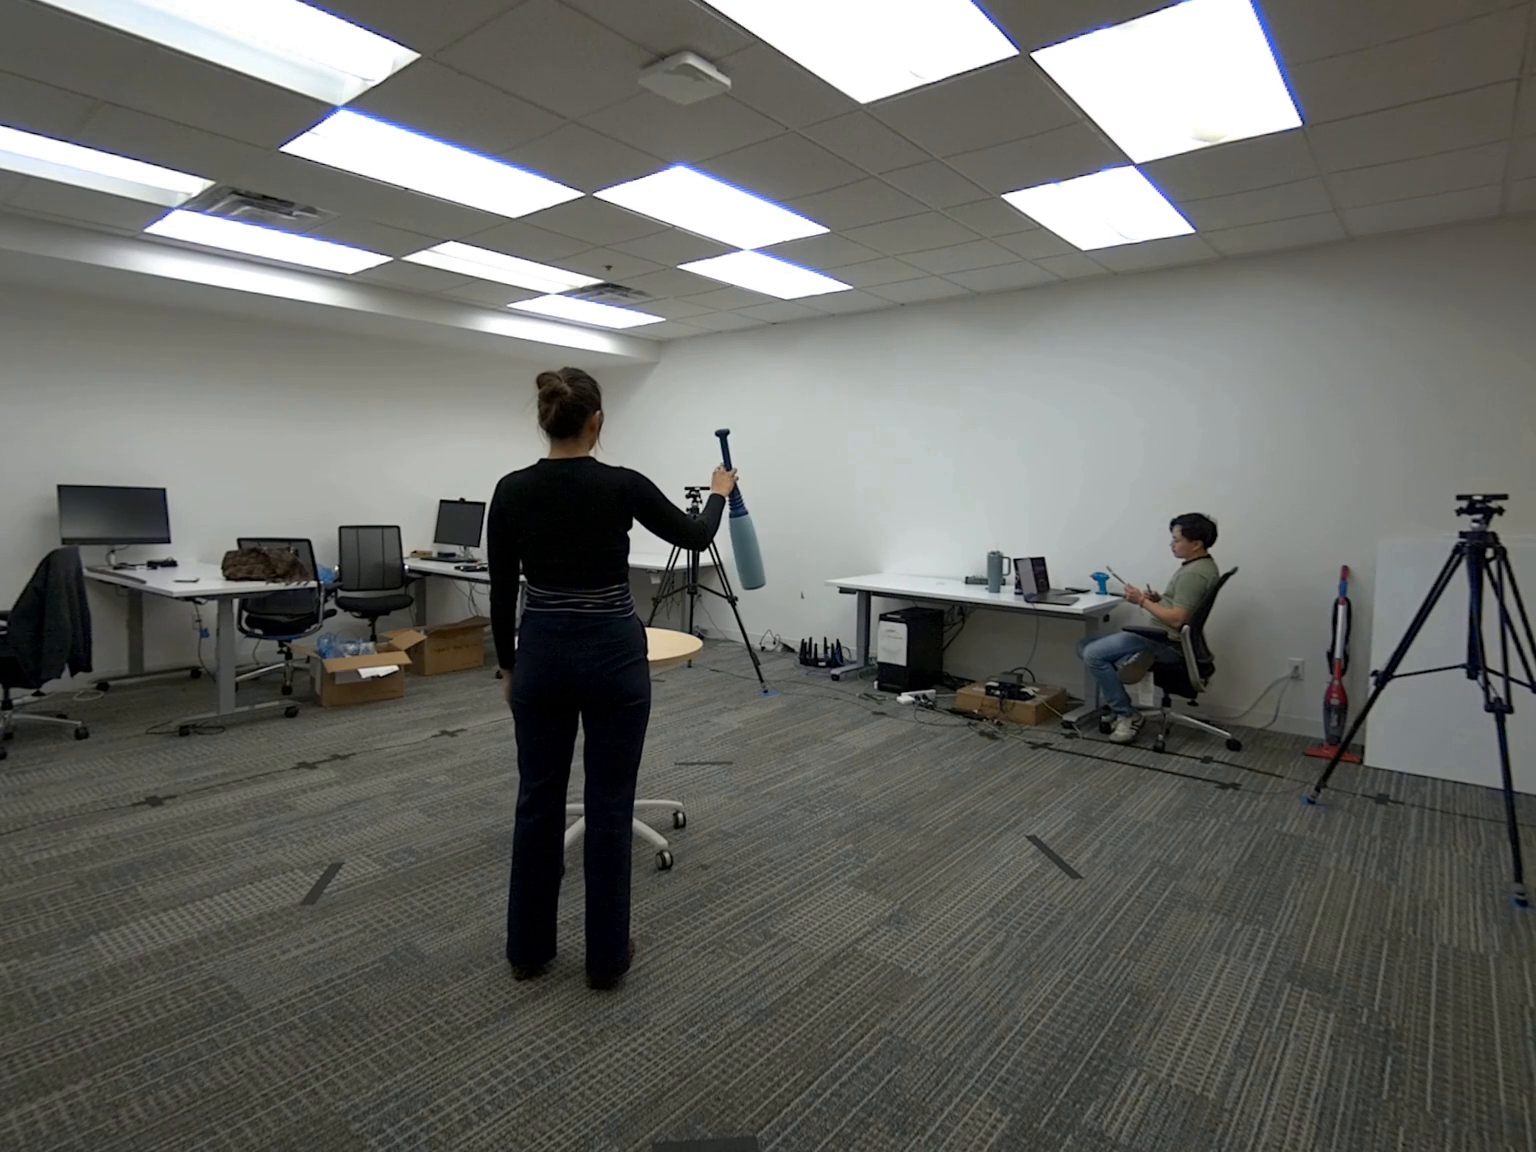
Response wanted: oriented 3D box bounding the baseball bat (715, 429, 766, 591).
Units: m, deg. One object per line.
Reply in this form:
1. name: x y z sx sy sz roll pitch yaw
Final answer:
1. baseball bat: -0.126 -0.227 2.809 0.089 0.538 0.090 -12 7 0
